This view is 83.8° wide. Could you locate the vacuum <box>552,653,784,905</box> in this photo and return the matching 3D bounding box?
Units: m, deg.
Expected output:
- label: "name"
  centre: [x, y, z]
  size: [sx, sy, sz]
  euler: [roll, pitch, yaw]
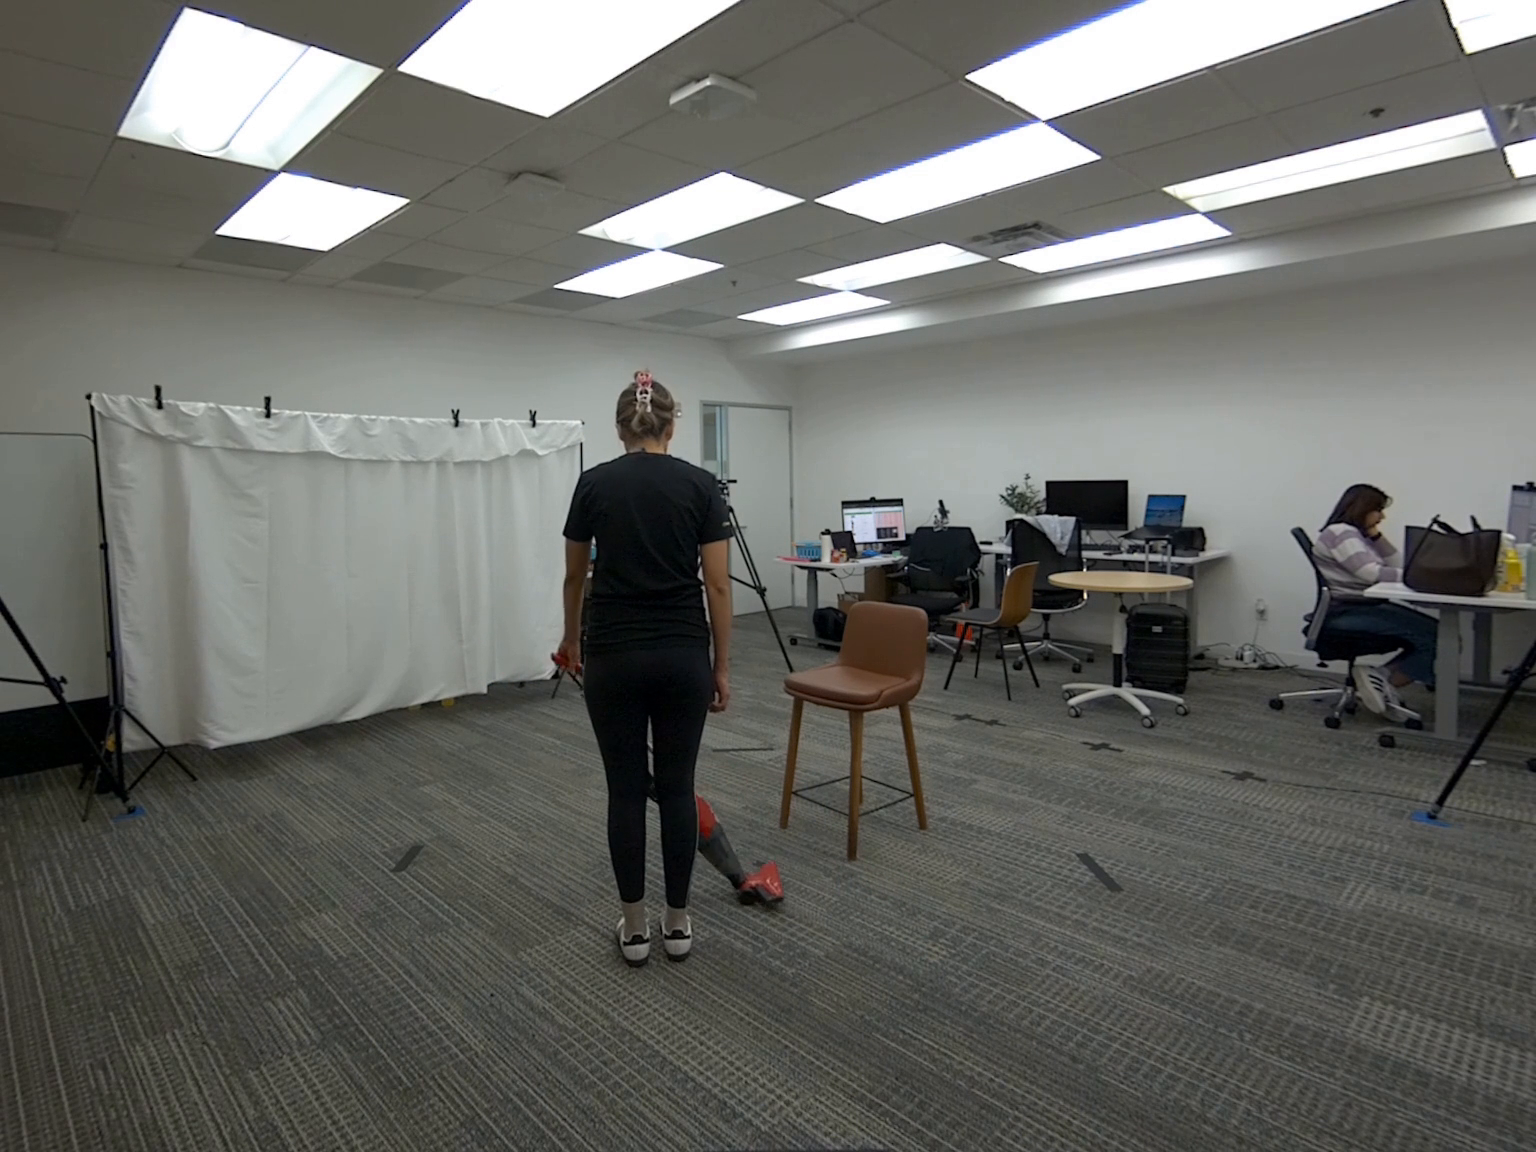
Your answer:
- label: "vacuum"
  centre: [-0.360, 0.665, 2.834]
  size: [0.144, 1.044, 0.254]
  euler: [-42, 4, 1]
